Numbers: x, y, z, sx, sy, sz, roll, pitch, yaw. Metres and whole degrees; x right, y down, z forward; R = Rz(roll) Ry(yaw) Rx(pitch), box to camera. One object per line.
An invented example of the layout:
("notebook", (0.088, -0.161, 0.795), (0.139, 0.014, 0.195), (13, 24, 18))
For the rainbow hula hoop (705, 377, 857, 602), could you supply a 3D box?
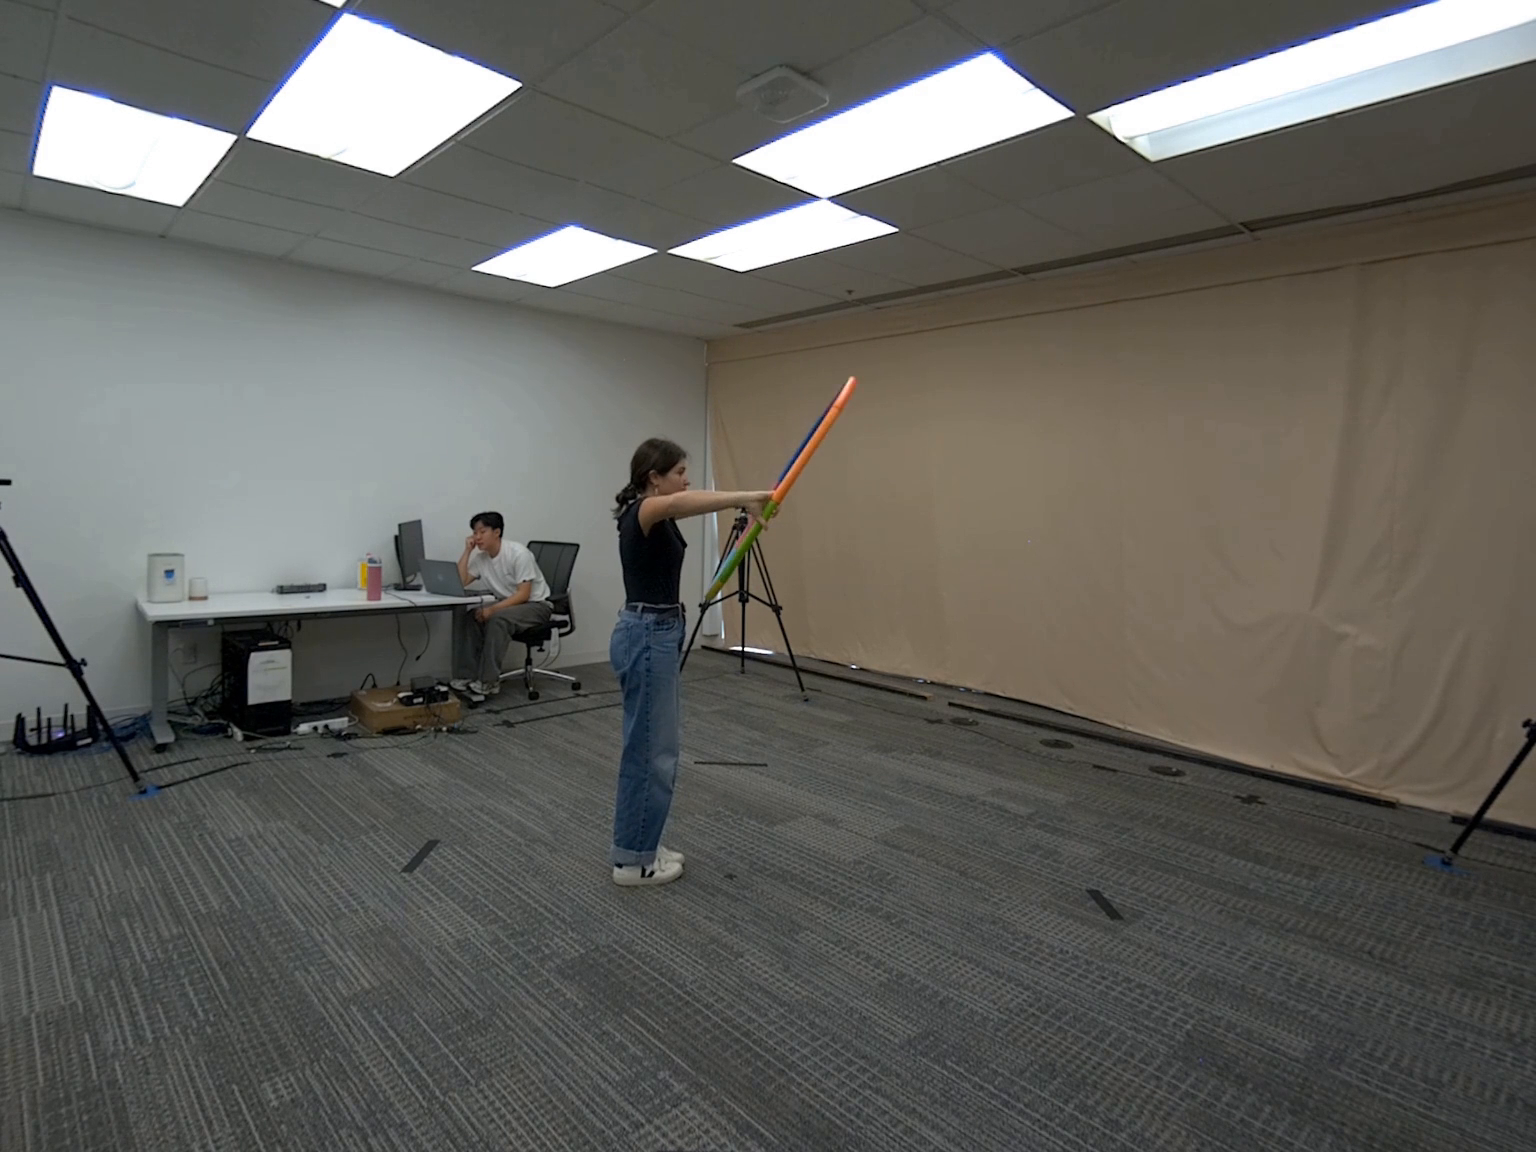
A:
("rainbow hula hoop", (0.035, -0.316, 3.127), (0.035, 0.978, 0.980), (33, 4, -3))
